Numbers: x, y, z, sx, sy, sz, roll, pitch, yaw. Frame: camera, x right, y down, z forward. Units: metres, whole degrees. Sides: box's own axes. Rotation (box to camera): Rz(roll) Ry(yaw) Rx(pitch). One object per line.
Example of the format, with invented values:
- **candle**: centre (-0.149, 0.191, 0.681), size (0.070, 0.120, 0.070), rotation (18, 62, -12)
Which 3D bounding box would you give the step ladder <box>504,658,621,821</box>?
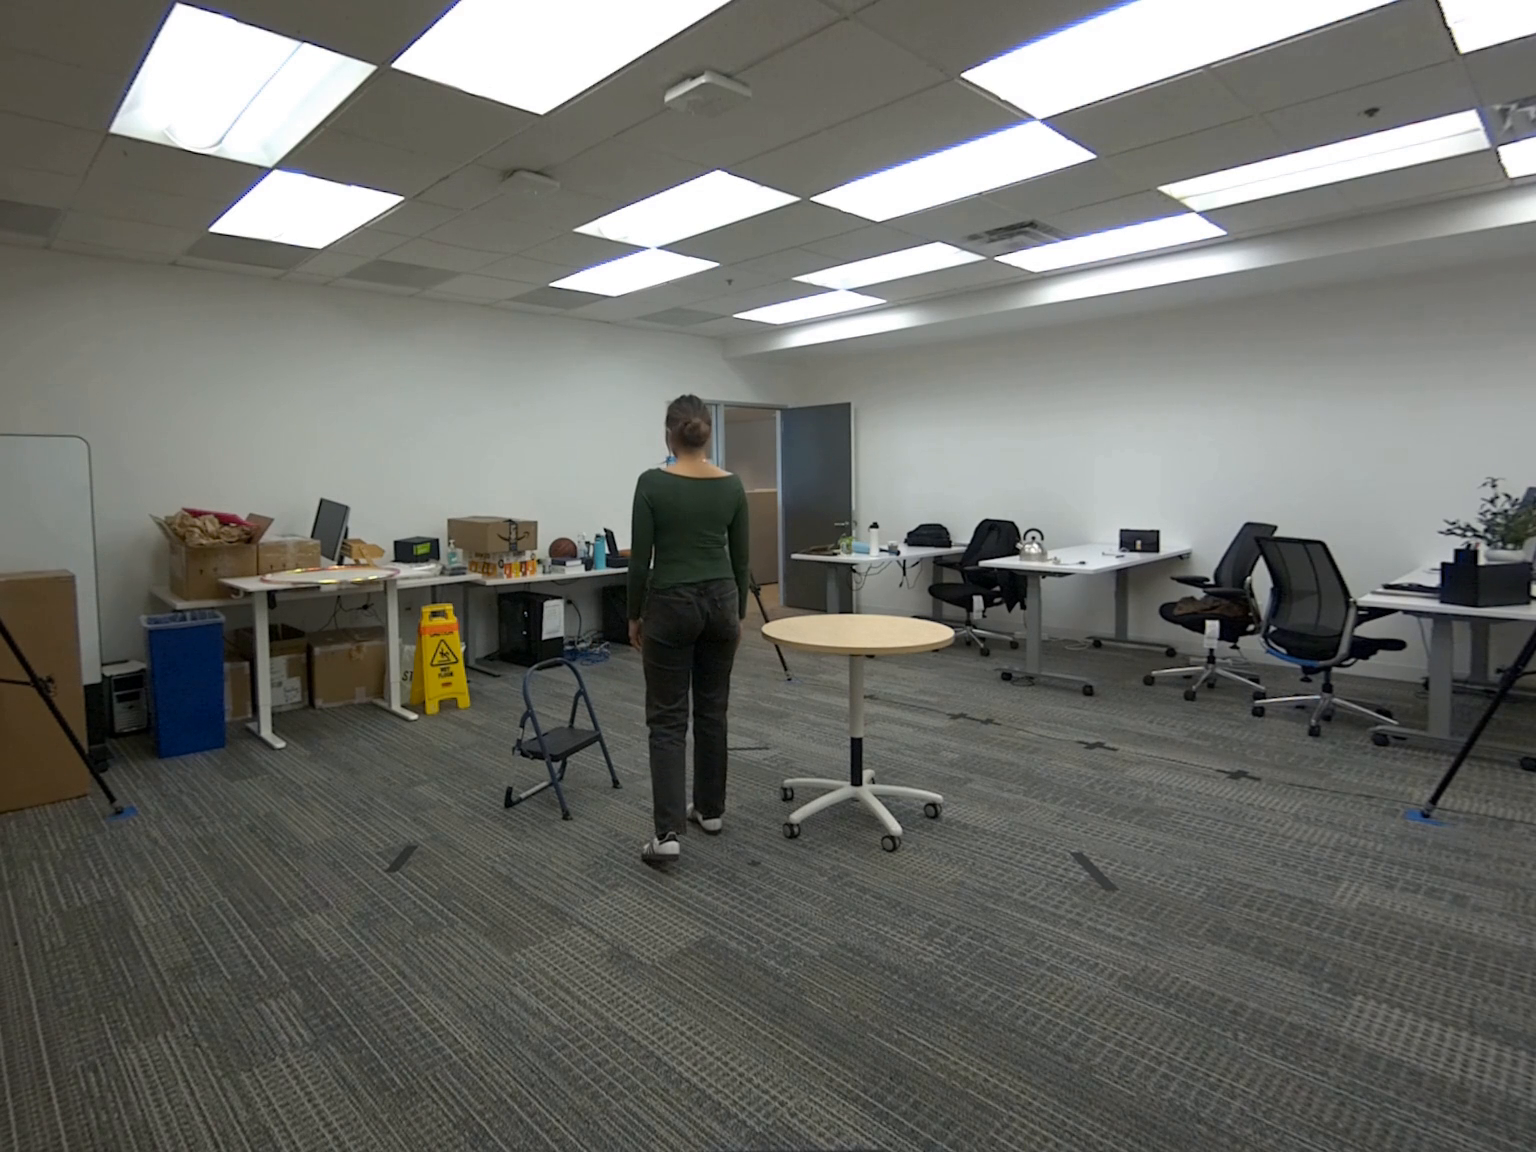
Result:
- **step ladder**: centre (-0.911, 0.682, 3.784), size (0.357, 0.604, 0.423), rotation (0, 4, 23)
